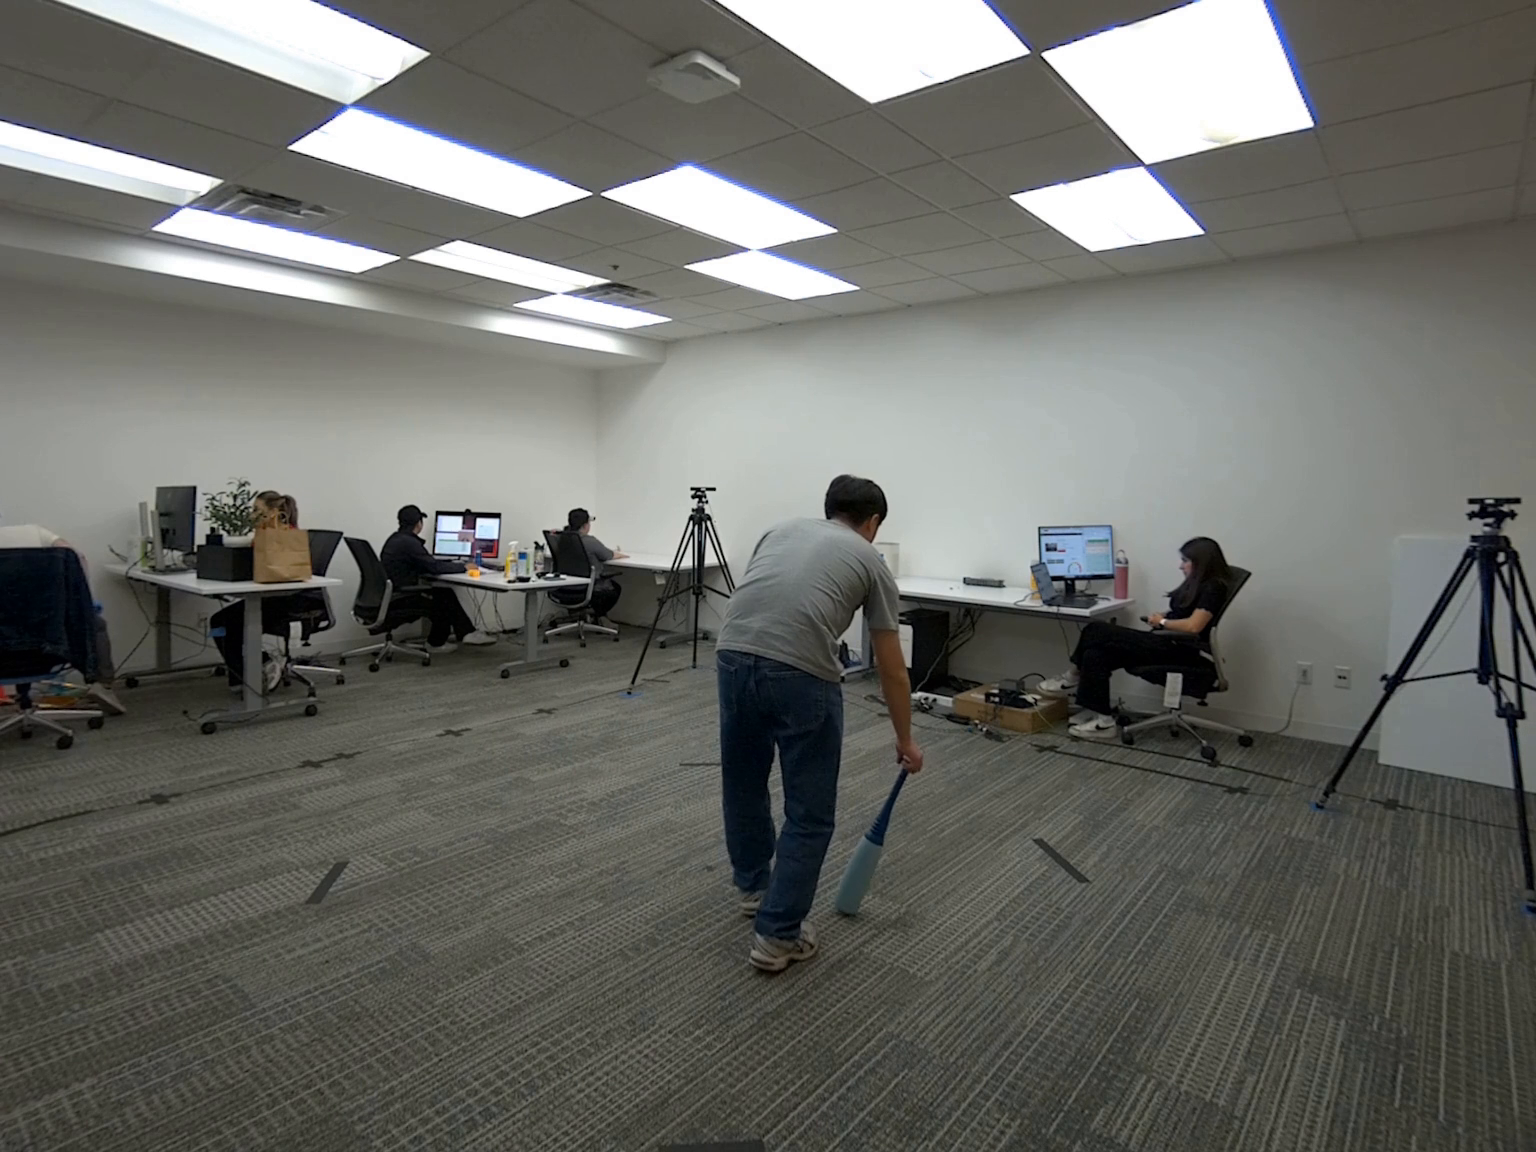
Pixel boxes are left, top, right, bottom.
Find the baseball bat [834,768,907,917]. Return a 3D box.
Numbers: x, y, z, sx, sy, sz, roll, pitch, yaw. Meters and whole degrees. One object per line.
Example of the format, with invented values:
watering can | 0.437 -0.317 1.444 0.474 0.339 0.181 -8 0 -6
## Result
baseball bat | 0.345 0.856 2.795 0.089 0.542 0.089 23 2 -3
